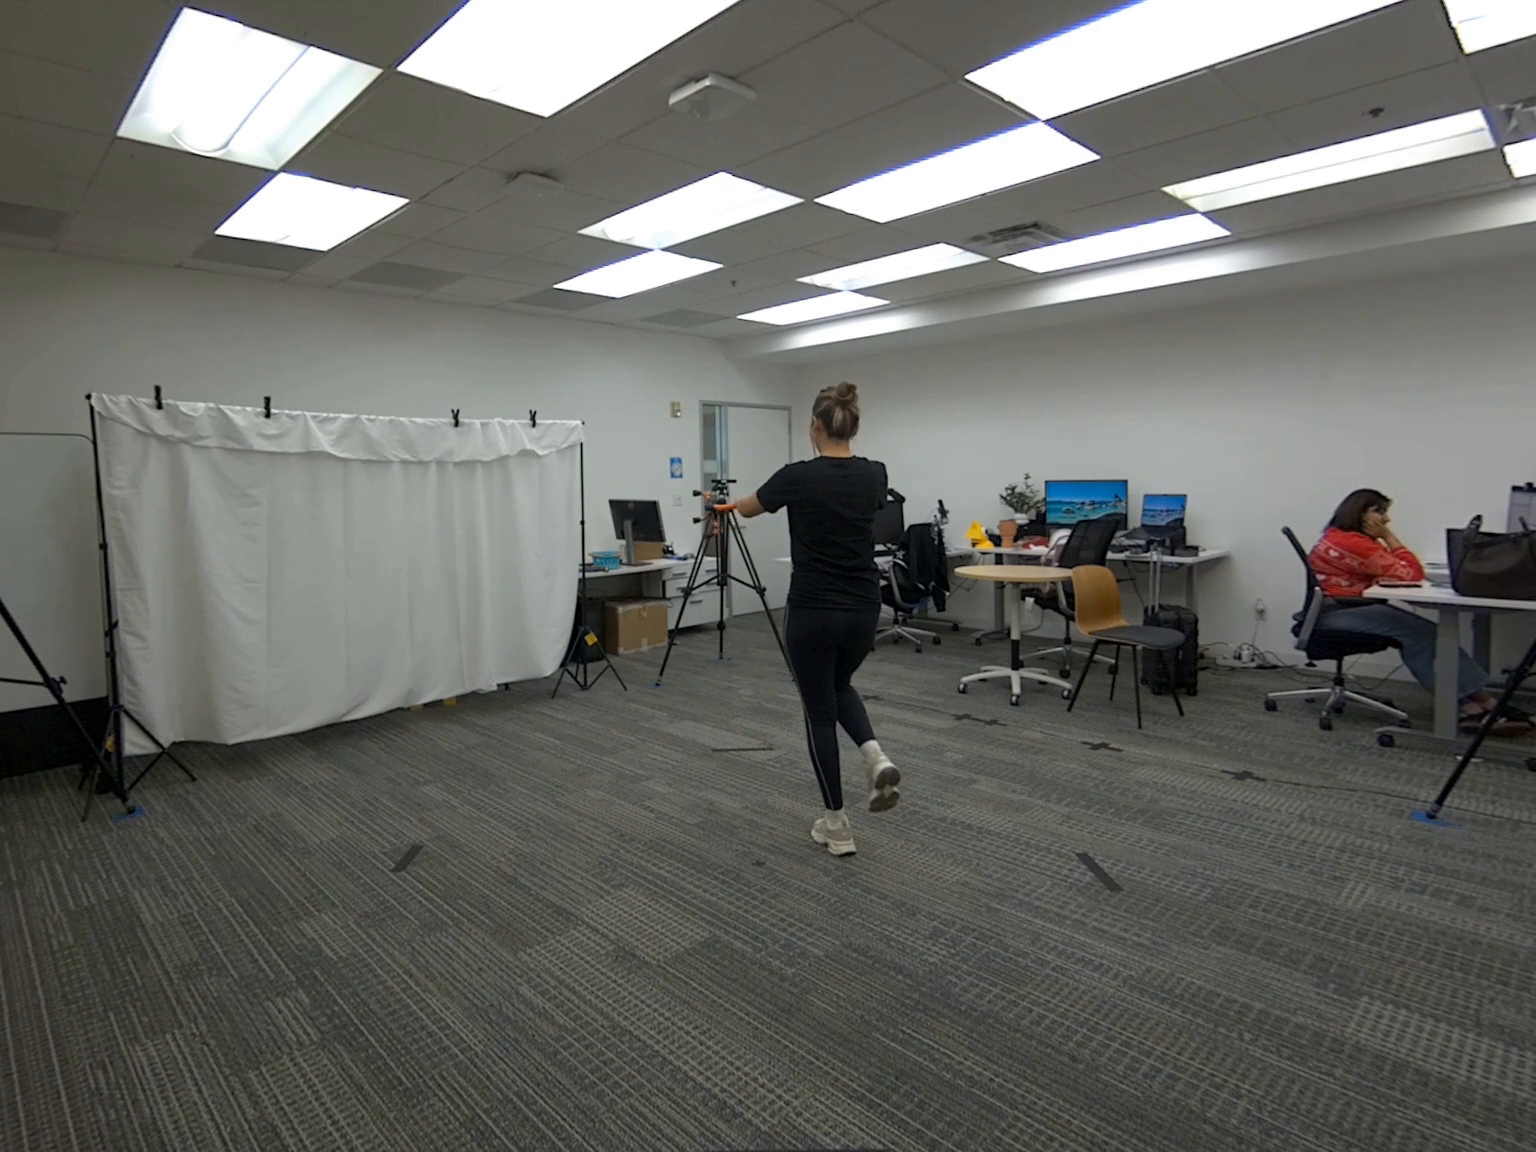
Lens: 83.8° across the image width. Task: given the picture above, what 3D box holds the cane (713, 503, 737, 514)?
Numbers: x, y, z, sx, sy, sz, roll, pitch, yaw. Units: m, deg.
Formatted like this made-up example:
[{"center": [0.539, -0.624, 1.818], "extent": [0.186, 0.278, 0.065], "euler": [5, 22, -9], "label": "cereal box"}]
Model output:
[{"center": [0.150, -0.303, 3.684], "extent": [0.895, 0.148, 0.213], "euler": [-7, 26, -17], "label": "cane"}]
